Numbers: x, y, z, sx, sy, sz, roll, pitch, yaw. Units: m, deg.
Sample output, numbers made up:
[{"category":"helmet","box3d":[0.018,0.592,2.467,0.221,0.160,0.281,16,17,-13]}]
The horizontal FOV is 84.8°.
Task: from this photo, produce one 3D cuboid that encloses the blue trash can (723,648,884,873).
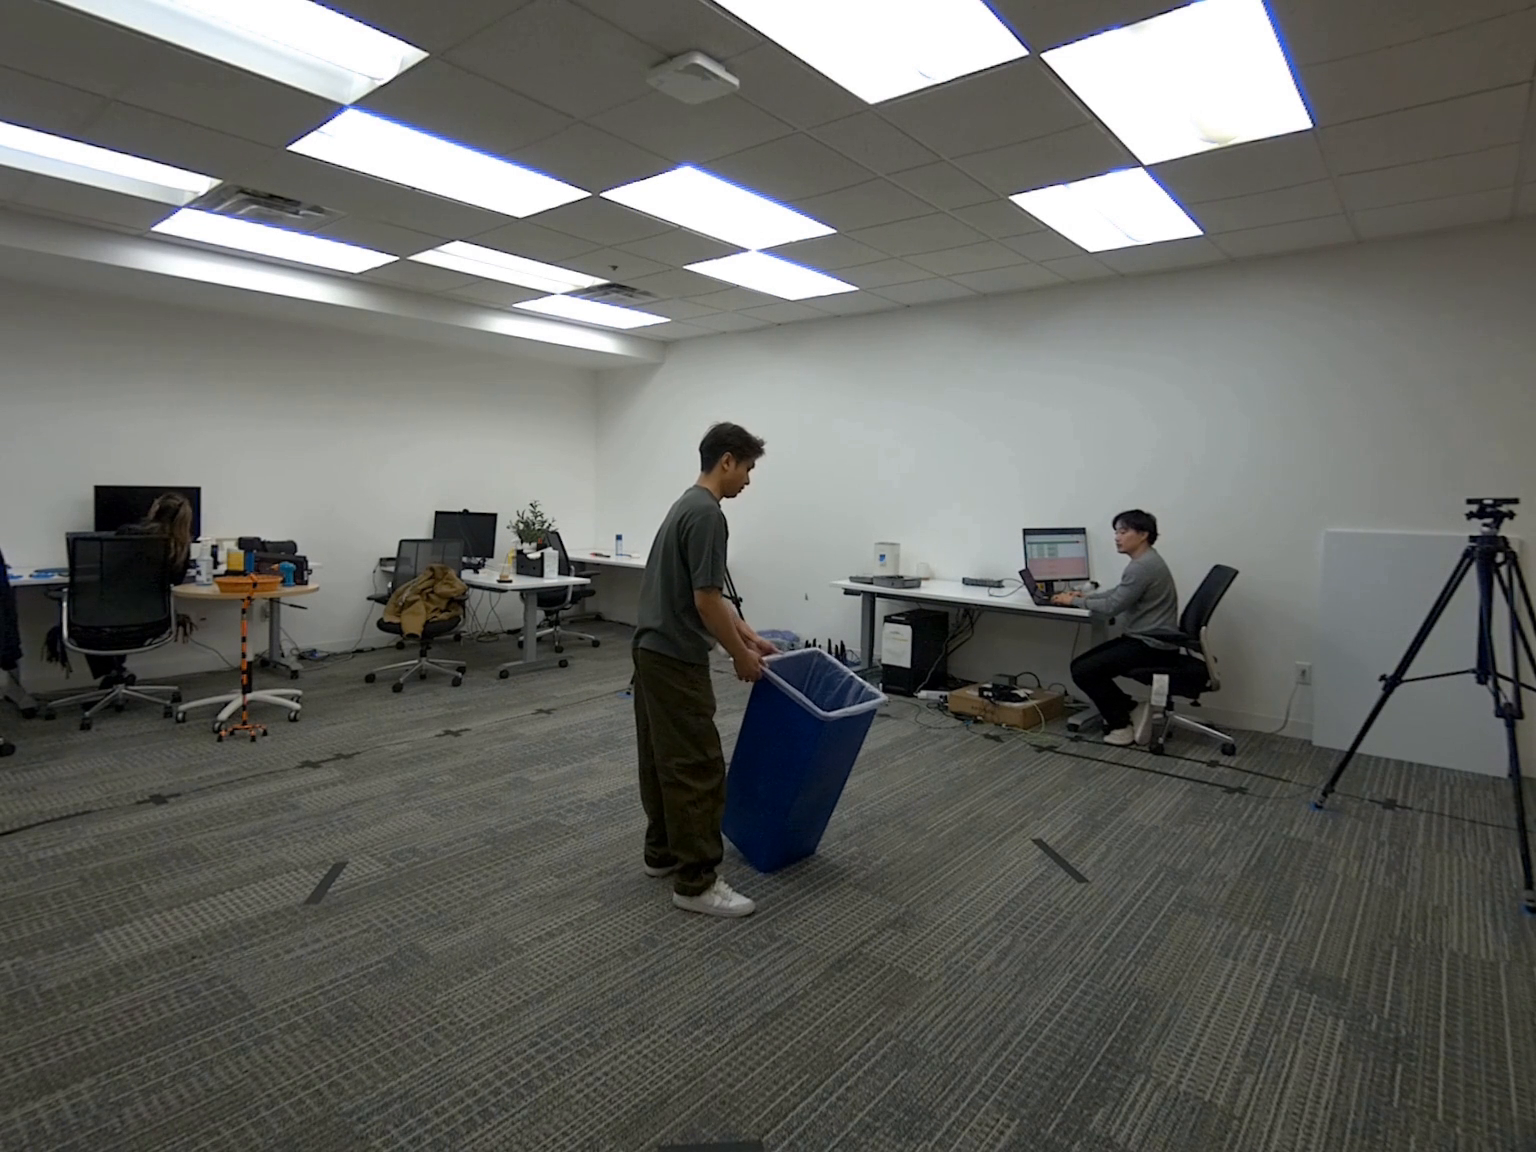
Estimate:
[{"category":"blue trash can","box3d":[0.075,0.681,3.152,0.367,0.706,0.390,-3,28,-47]}]
